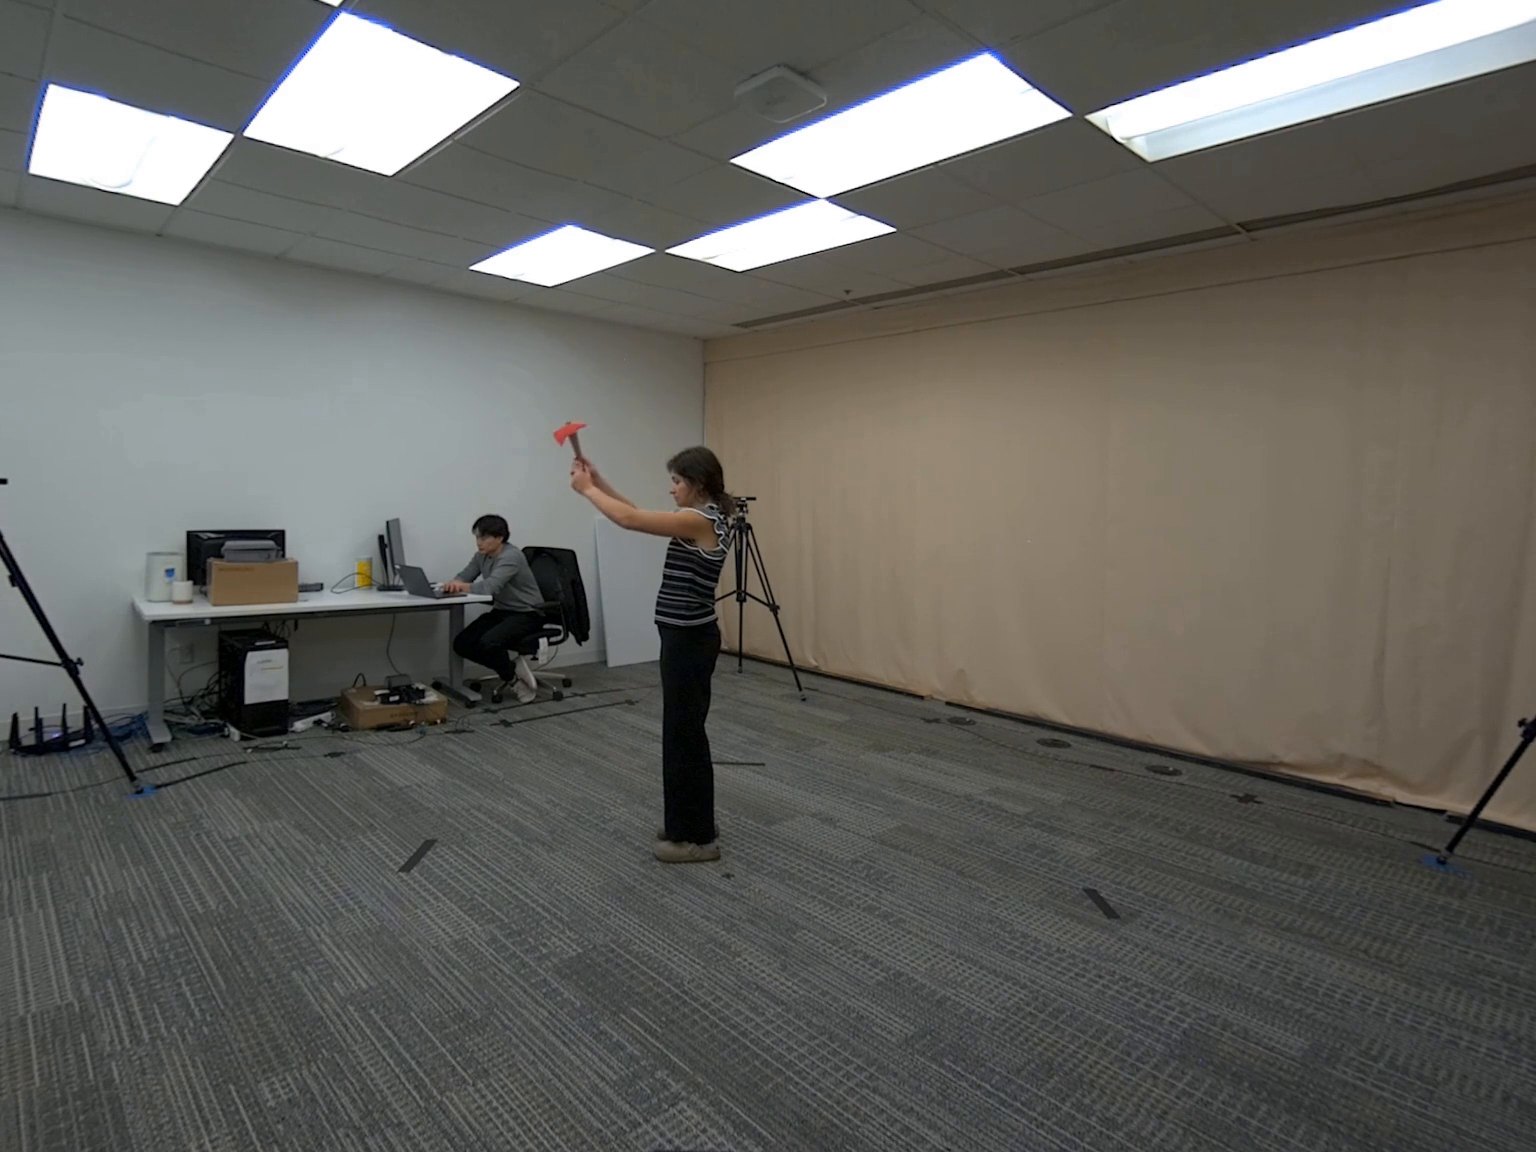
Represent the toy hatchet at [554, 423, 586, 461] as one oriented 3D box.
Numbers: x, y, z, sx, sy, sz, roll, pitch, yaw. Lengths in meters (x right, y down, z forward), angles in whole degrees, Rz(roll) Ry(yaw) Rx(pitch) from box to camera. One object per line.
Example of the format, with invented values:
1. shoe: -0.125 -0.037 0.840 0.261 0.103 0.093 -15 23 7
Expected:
1. toy hatchet: -0.767 -0.452 3.282 0.130 0.271 0.029 -1 -4 -4
